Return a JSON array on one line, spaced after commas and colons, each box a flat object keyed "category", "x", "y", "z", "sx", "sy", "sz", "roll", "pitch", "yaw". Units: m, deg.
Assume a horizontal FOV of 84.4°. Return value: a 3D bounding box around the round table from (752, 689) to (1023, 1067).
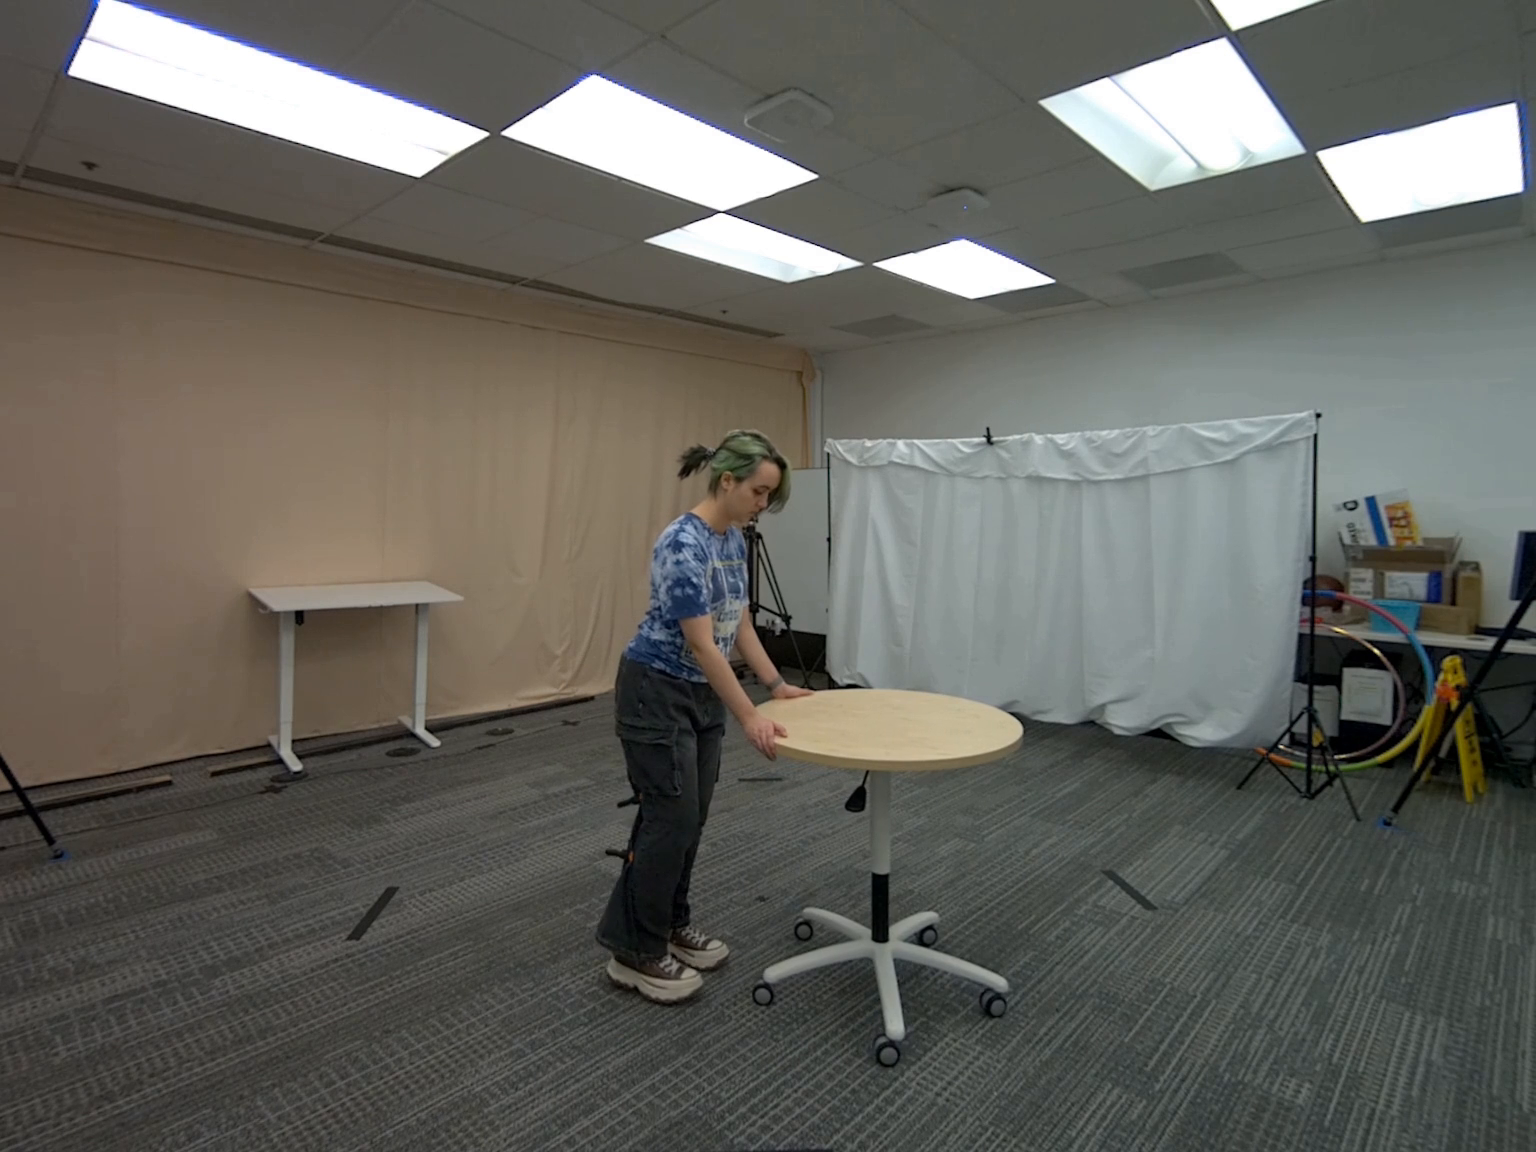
[{"category": "round table", "x": 0.328, "y": 0.805, "z": 2.409, "sx": 0.763, "sy": 0.792, "sz": 0.767, "roll": 0, "pitch": 4, "yaw": -2}]
